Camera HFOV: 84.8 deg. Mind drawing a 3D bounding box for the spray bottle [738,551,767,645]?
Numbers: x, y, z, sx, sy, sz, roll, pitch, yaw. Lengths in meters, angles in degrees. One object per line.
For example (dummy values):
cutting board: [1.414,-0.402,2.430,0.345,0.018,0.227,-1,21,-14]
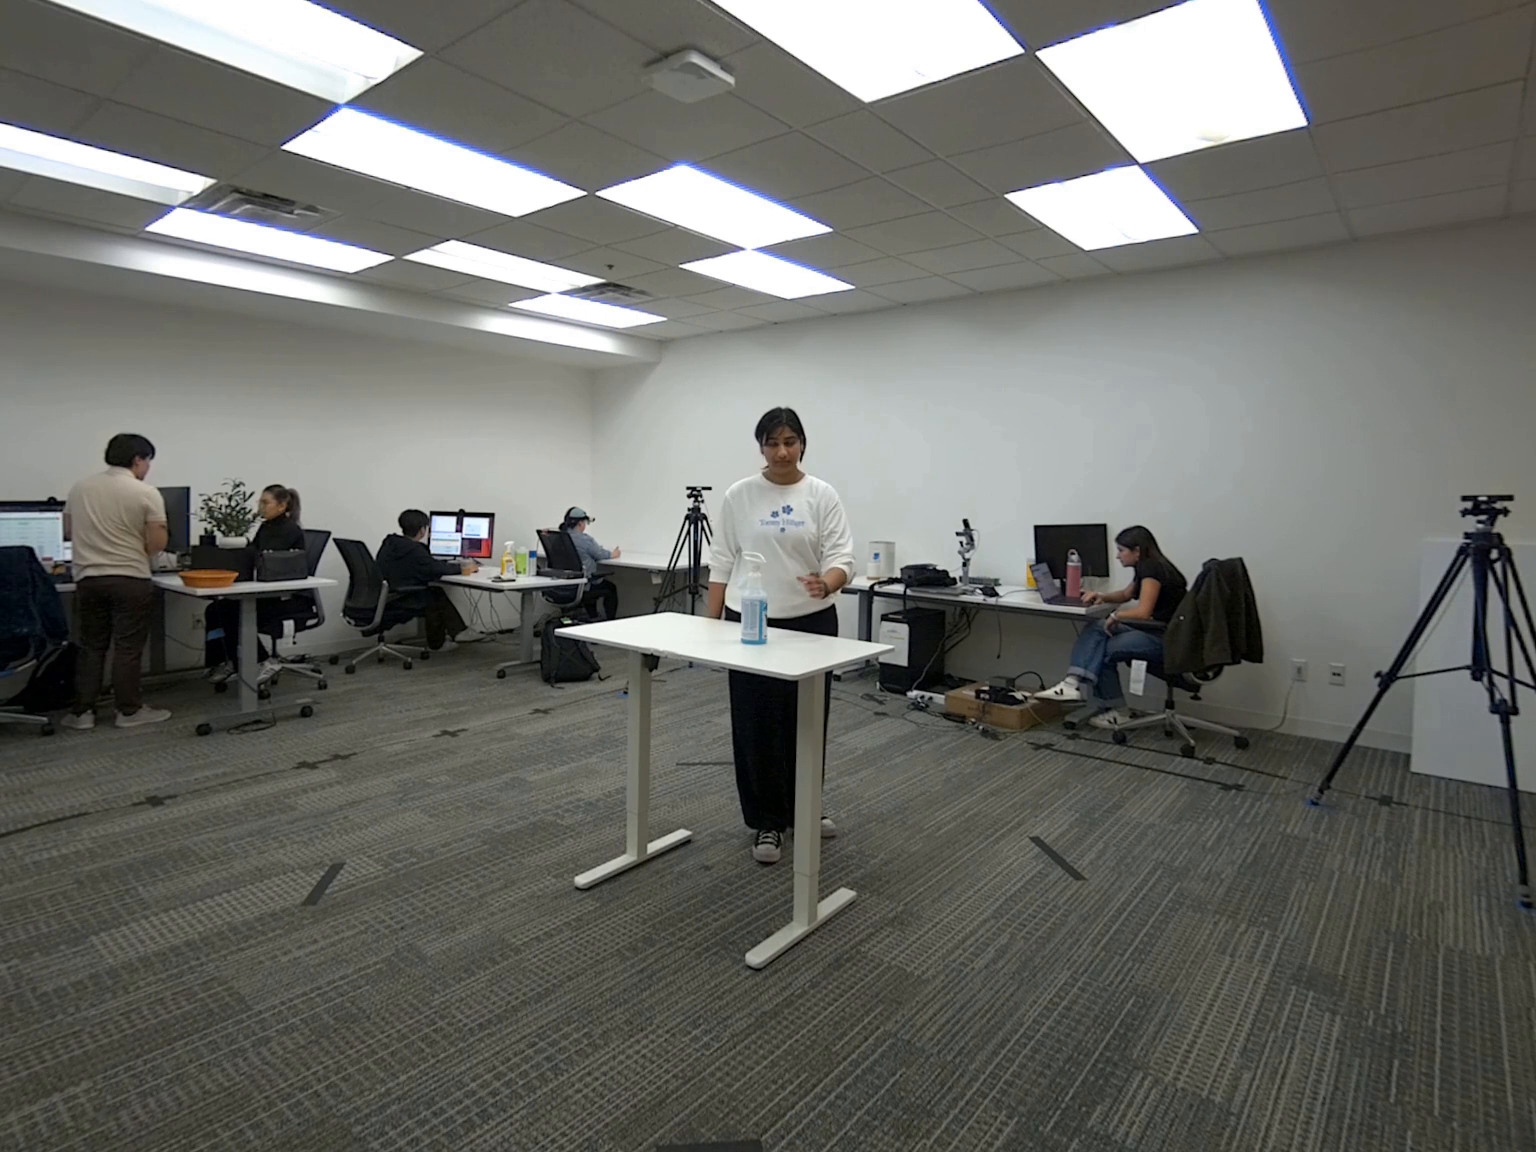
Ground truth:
spray bottle: [-0.045,0.069,2.795,0.085,0.297,0.093,0,3,-30]
